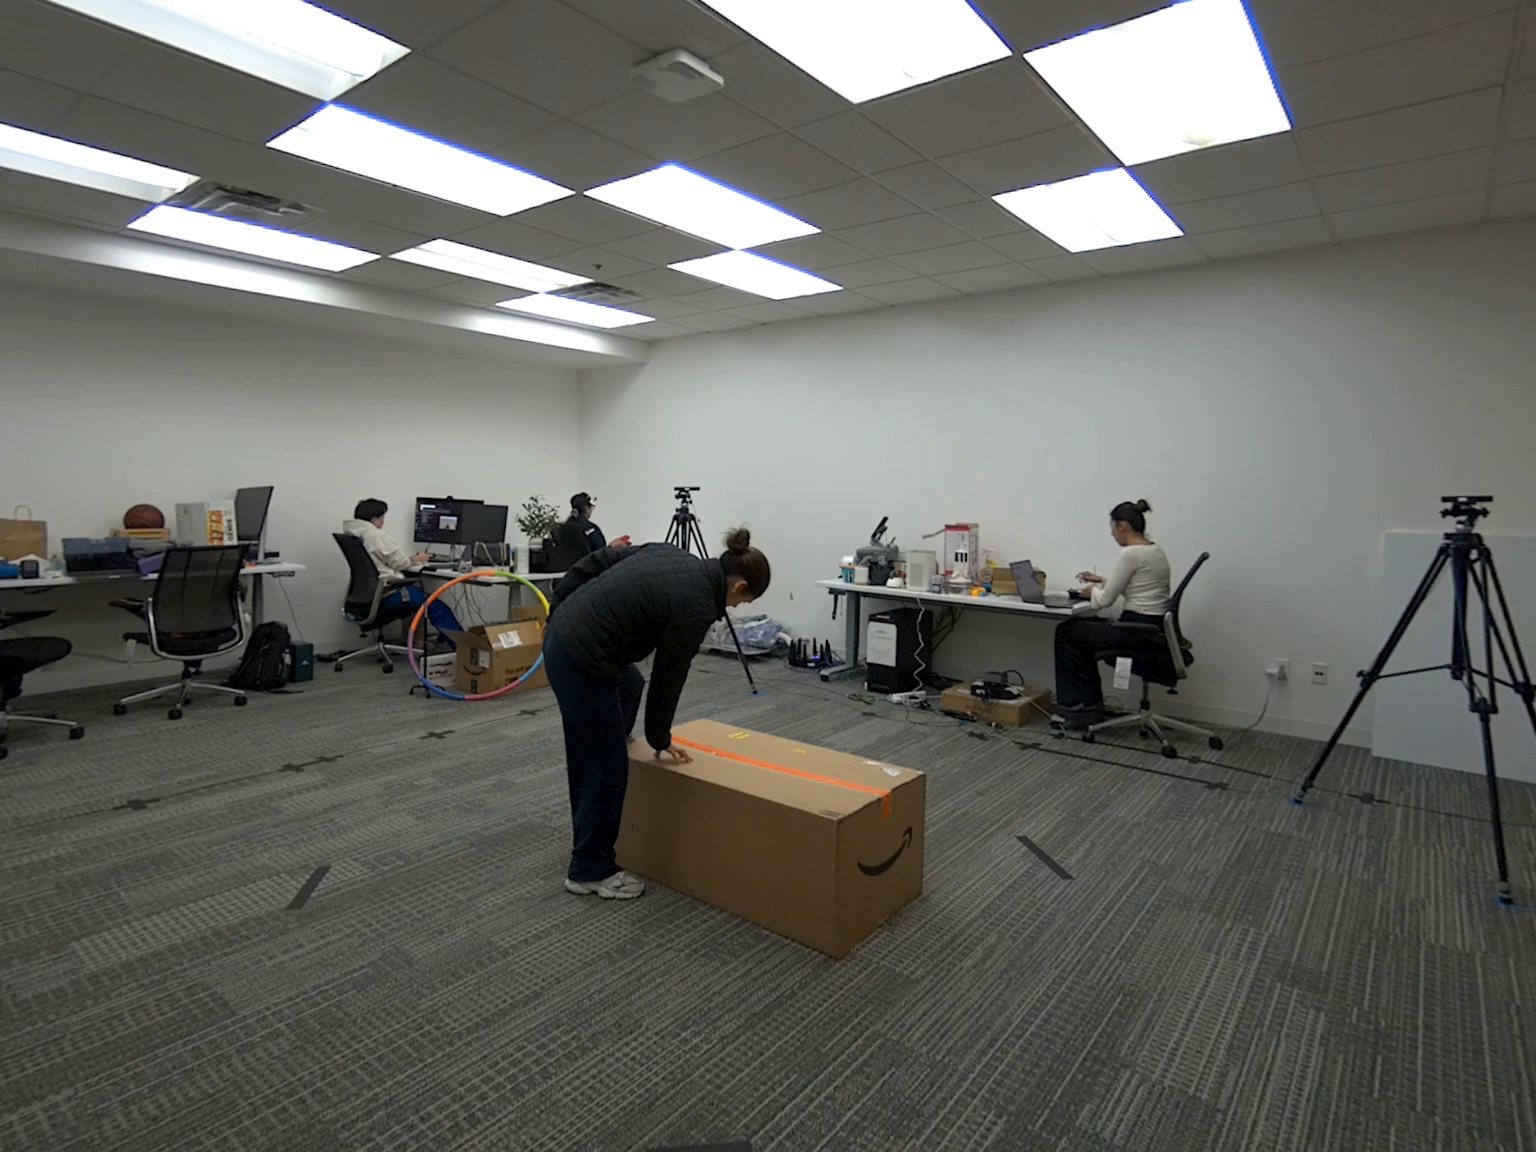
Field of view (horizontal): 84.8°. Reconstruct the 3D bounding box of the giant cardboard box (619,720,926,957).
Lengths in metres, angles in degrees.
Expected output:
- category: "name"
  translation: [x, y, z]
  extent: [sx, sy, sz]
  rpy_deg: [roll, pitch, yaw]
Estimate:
- category: "giant cardboard box"
  translation: [-0.021, 0.866, 3.059]
  extent: [1.062, 0.444, 0.567]
  rpy_deg: [6, 8, 39]
